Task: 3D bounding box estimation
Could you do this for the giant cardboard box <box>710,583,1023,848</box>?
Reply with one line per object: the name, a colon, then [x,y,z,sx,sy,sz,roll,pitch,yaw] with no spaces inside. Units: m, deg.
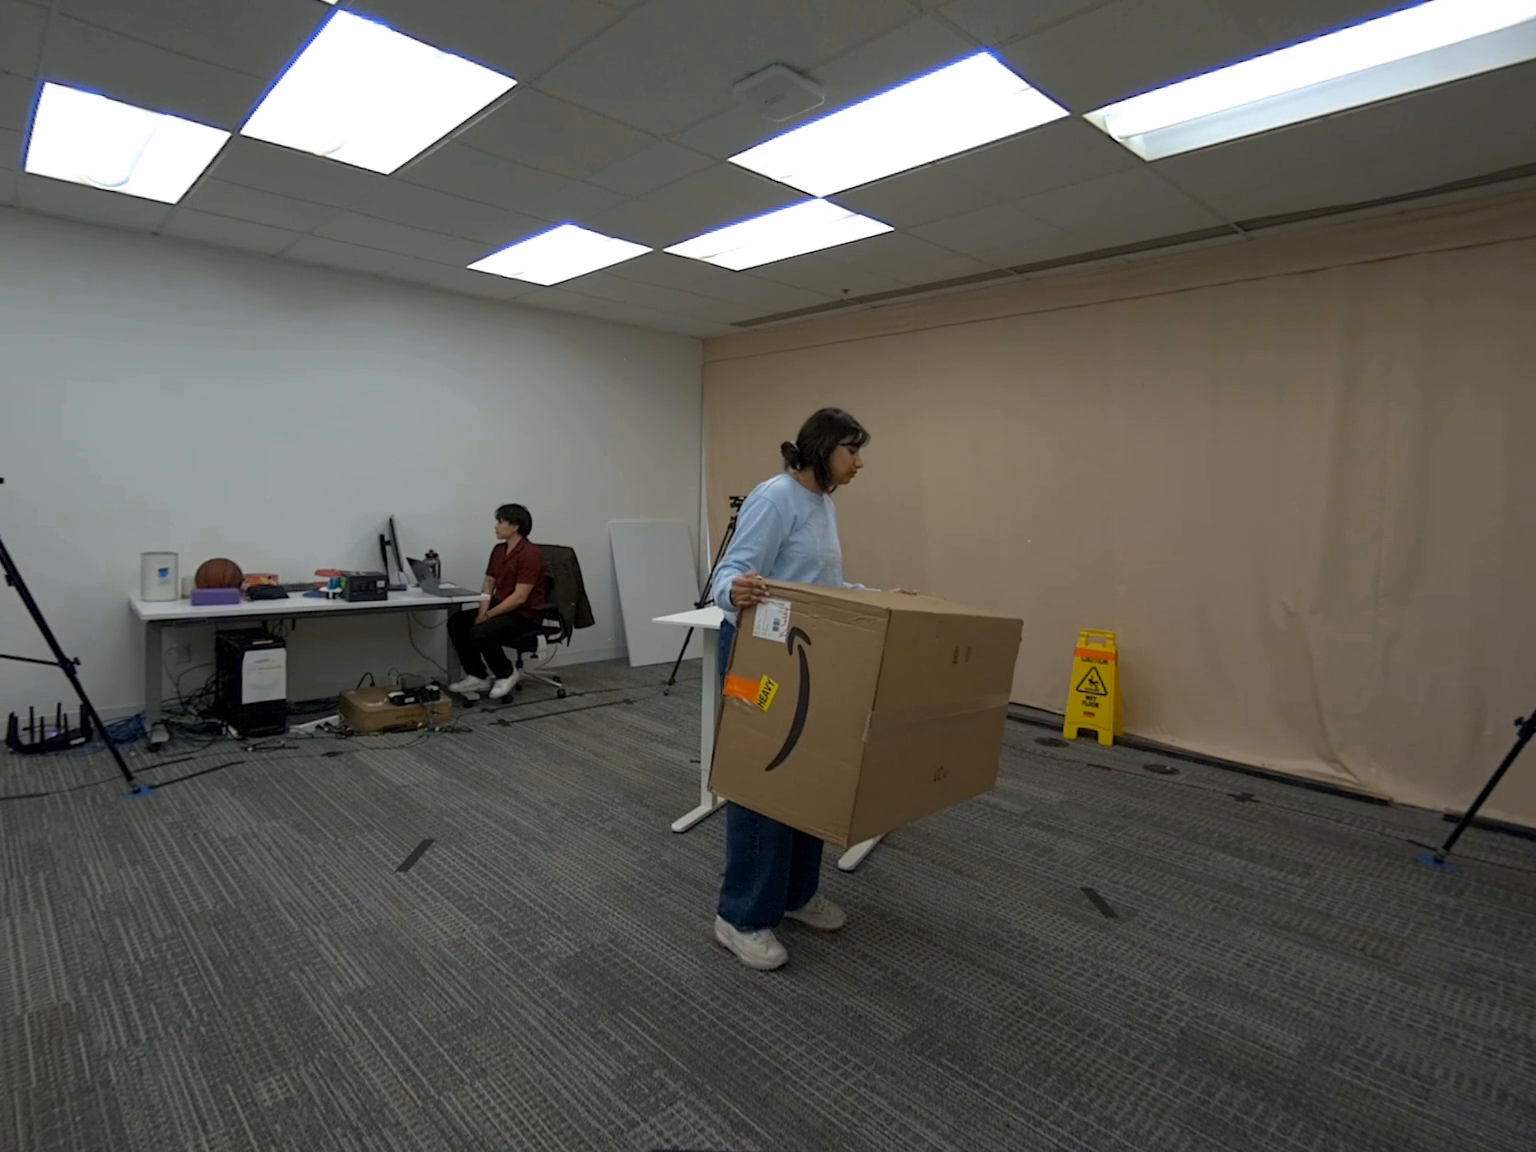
giant cardboard box: [0.337,0.358,2.480,0.437,0.577,1.000,10,1,34]
